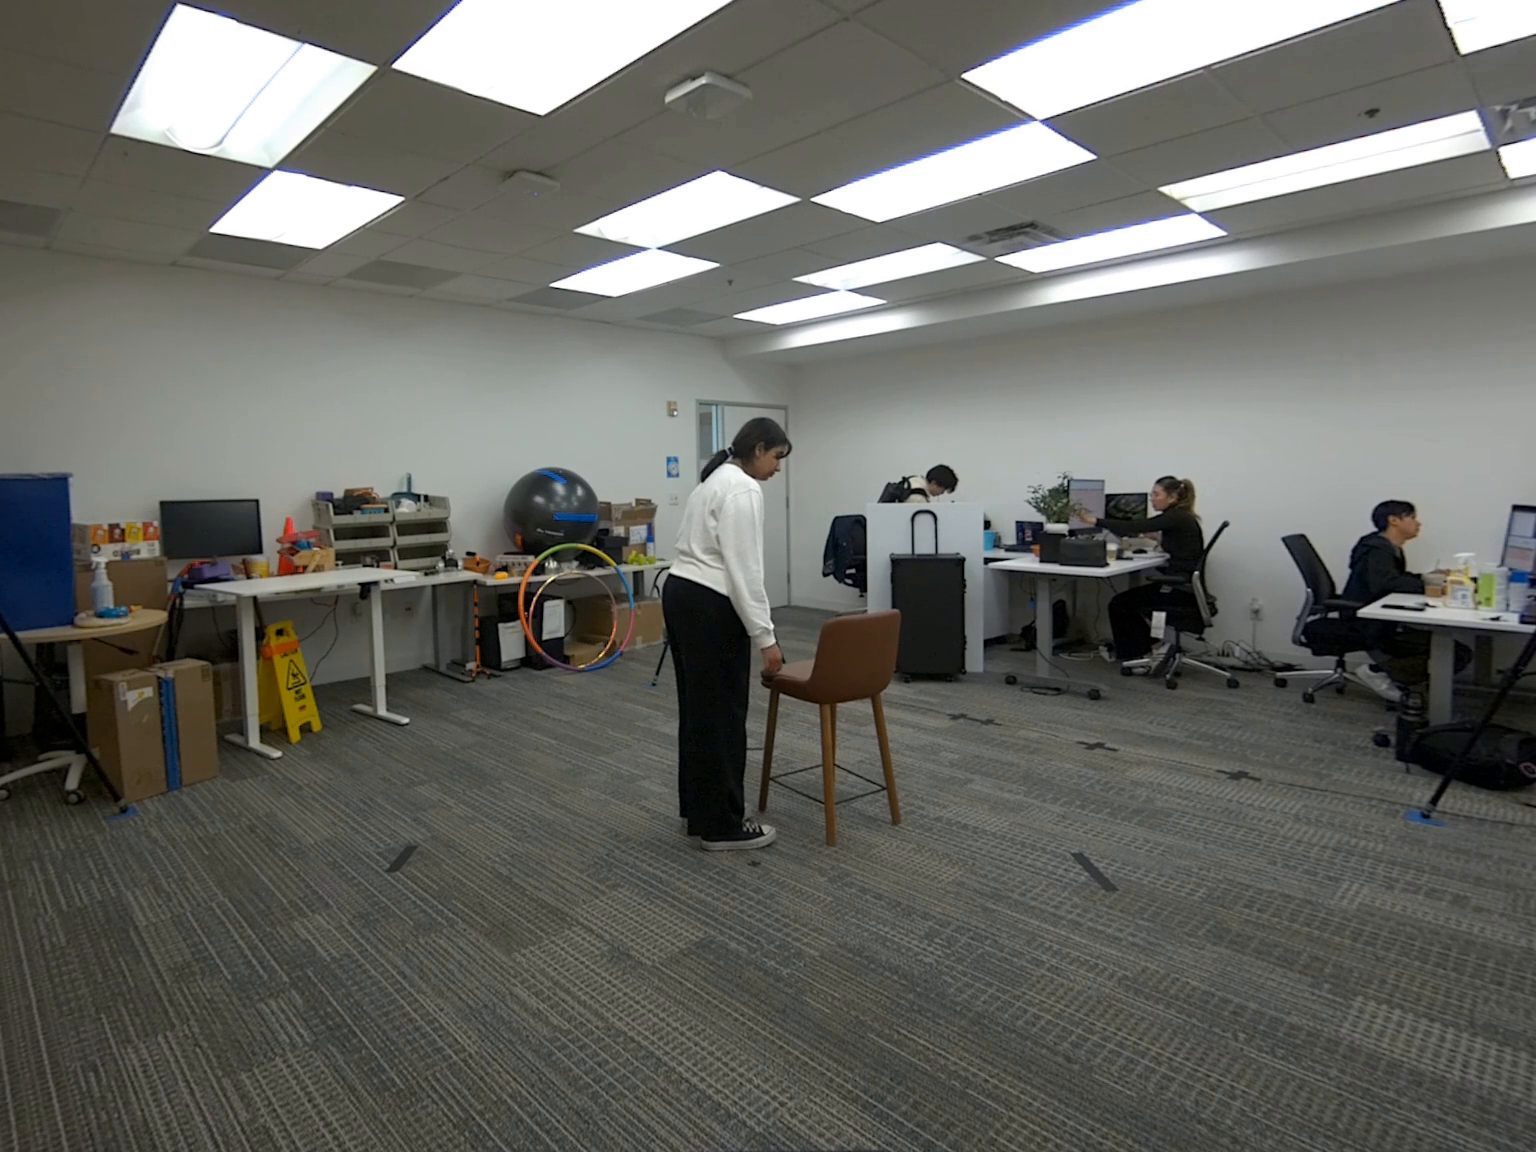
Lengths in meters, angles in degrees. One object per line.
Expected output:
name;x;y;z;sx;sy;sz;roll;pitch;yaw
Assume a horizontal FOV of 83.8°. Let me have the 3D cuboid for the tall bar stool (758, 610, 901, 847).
tall bar stool;0.251;0.560;3.500;0.445;0.885;0.482;-4;7;-35
